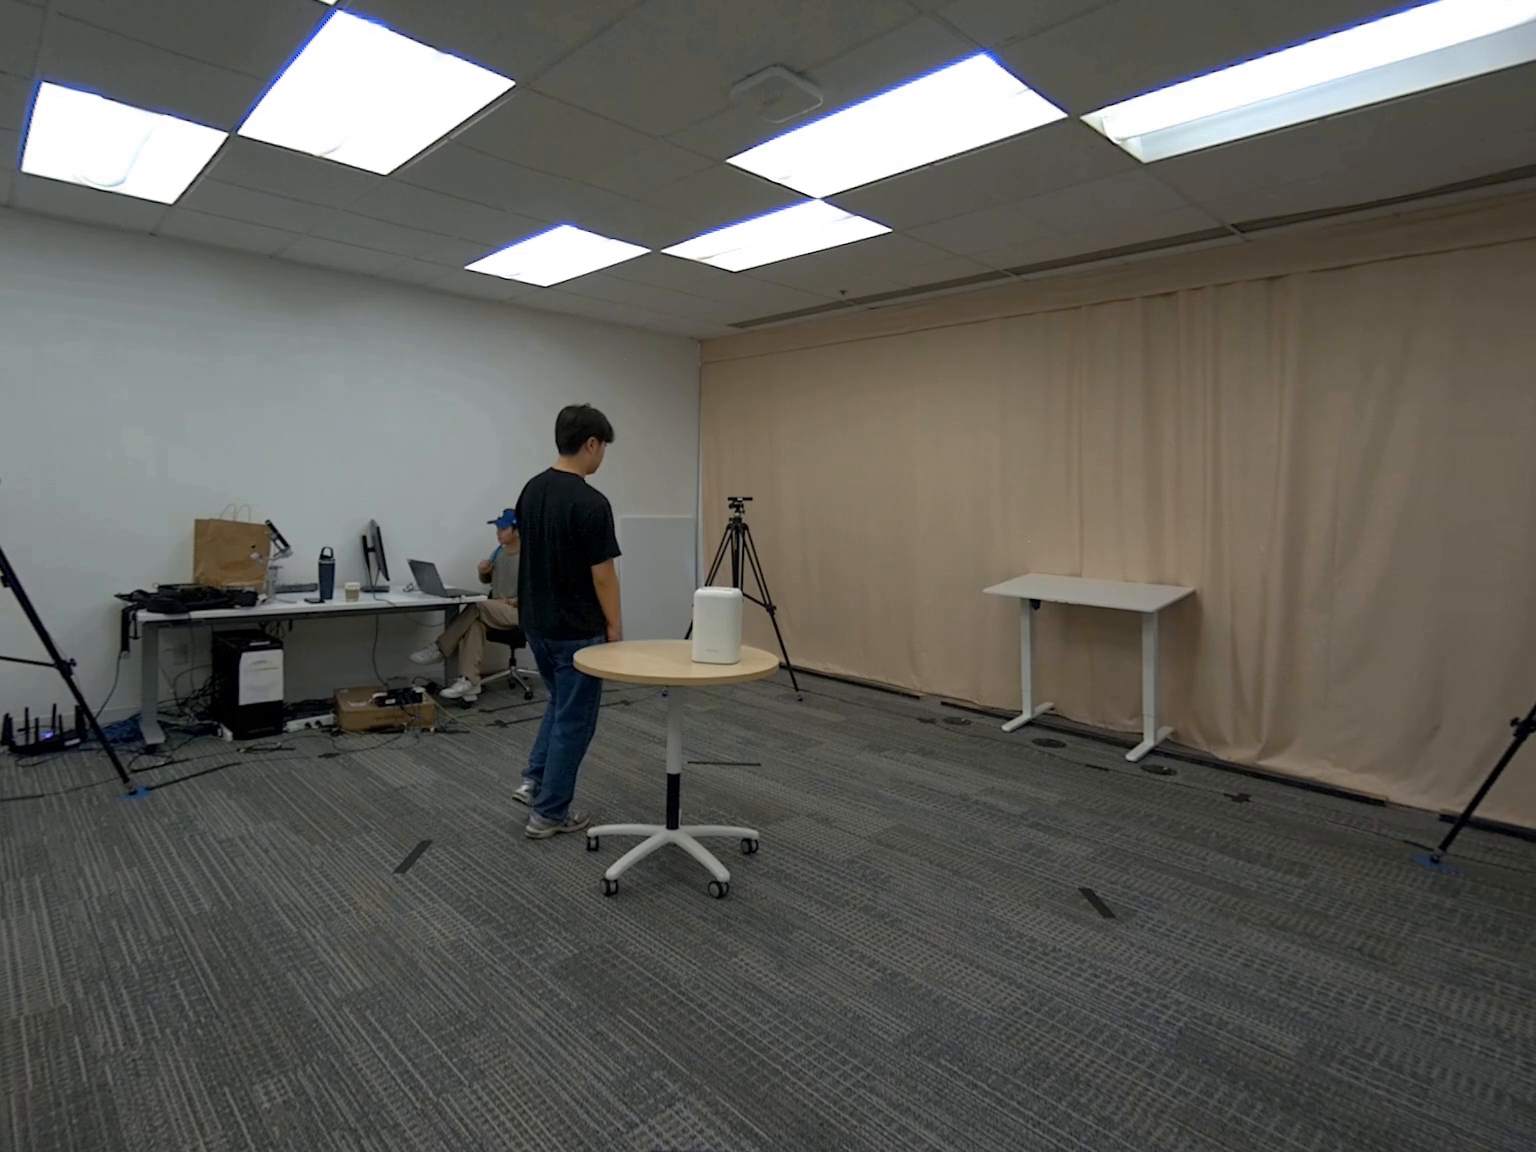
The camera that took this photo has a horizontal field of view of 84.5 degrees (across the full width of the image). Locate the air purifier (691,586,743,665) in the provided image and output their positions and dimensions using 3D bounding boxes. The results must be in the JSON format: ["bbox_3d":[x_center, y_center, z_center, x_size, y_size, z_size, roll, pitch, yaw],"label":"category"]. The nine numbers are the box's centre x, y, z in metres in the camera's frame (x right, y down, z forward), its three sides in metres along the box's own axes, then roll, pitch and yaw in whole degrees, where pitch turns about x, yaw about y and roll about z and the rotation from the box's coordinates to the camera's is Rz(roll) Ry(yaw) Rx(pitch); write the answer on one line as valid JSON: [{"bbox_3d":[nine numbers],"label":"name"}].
[{"bbox_3d":[-0.193,0.179,3.104,0.172,0.264,0.171,3,6,8],"label":"air purifier"}]
